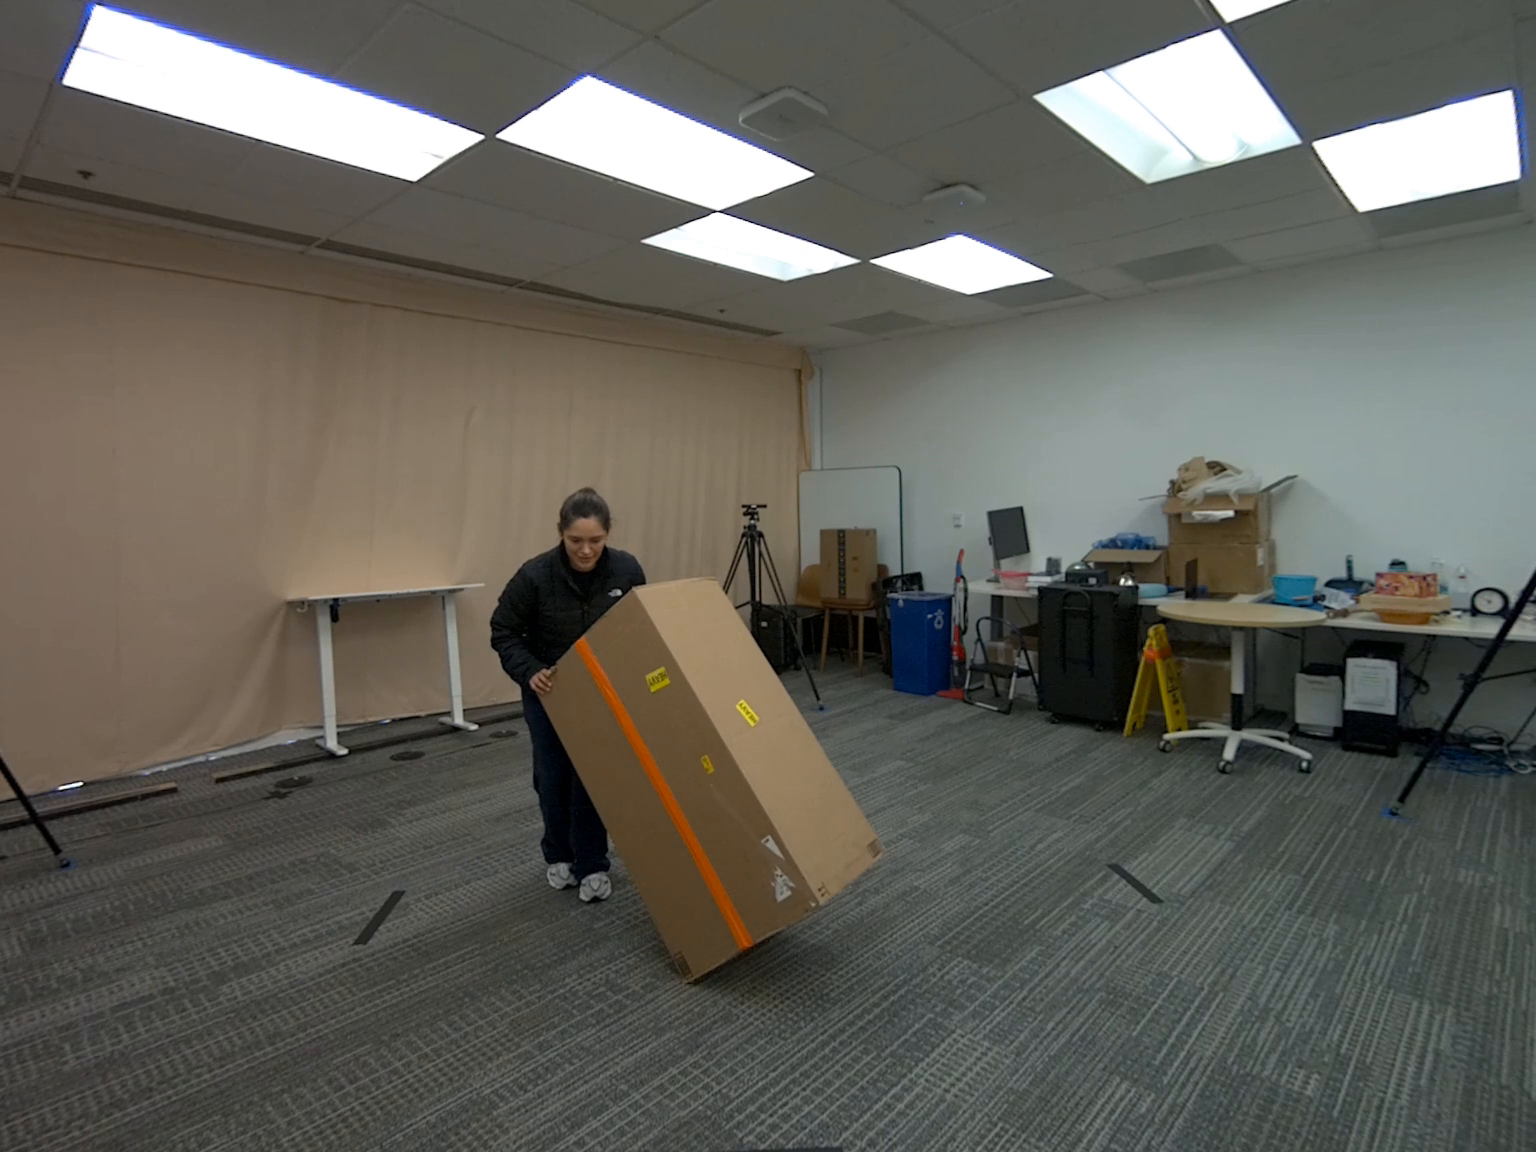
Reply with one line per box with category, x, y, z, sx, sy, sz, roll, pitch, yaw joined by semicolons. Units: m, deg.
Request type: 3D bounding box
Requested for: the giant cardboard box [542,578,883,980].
giant cardboard box;-0.195;0.597;2.652;0.589;1.047;0.434;-43;-20;30
